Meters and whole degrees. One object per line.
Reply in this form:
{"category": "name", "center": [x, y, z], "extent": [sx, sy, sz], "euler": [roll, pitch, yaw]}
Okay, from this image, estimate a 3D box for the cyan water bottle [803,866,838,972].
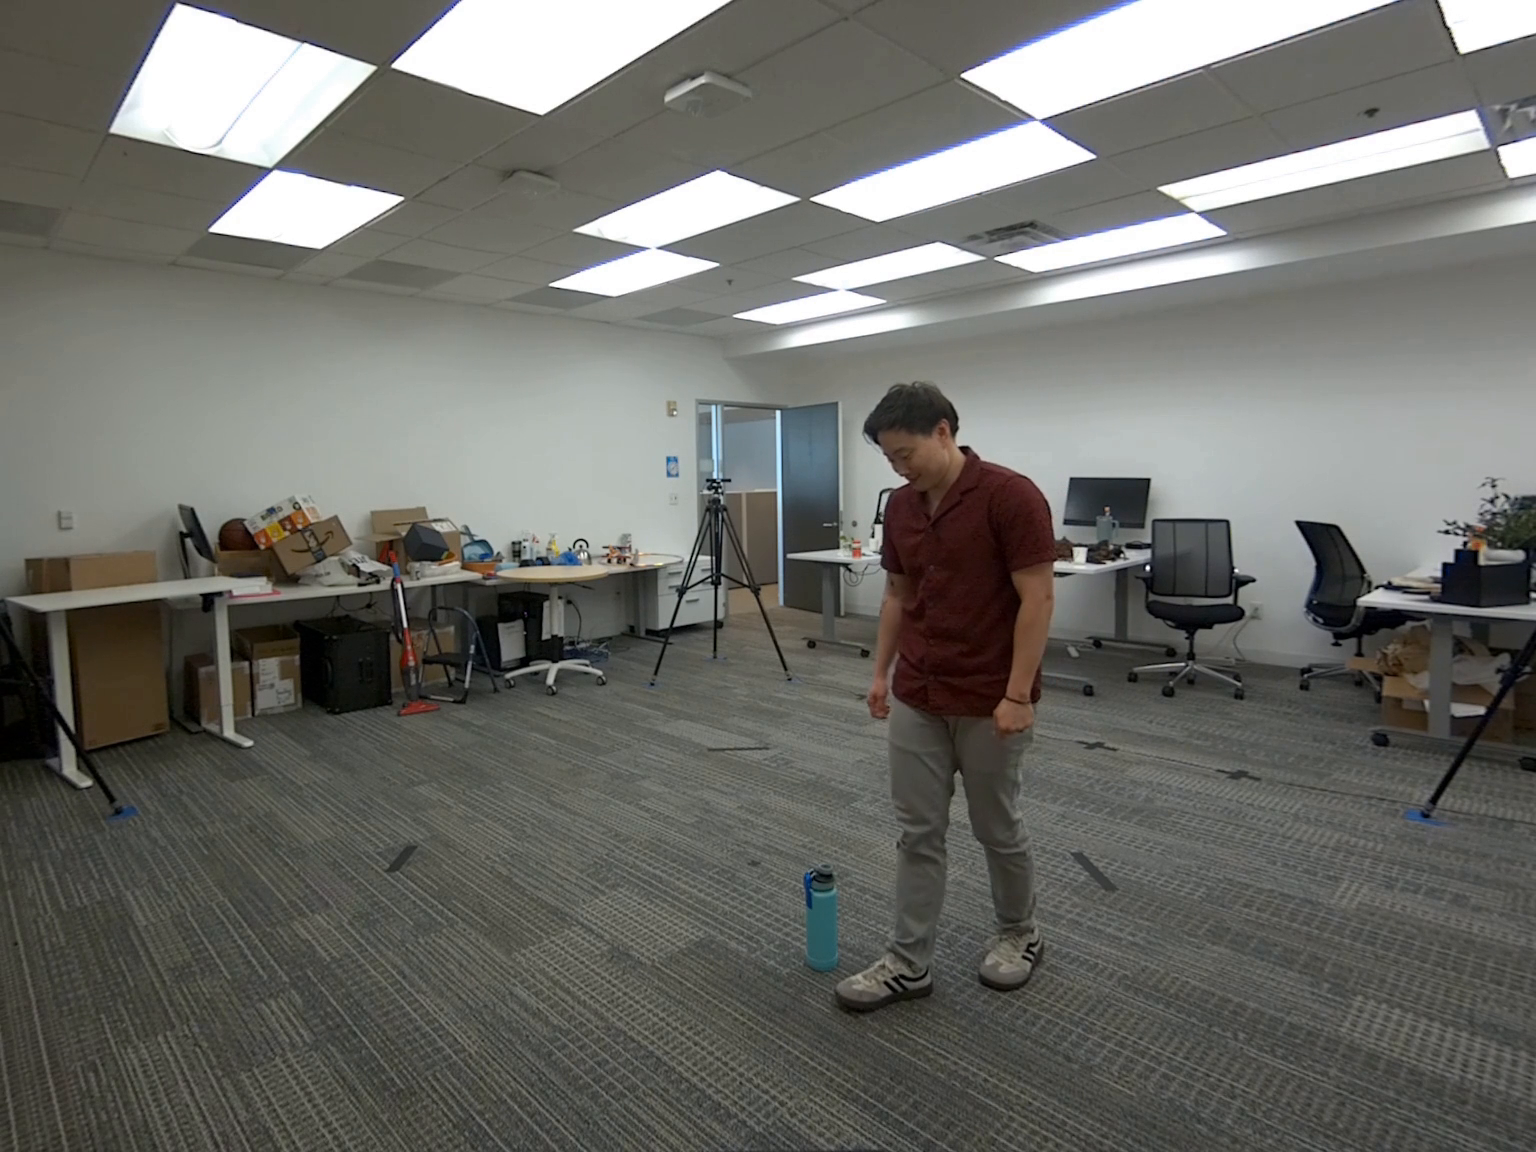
{"category": "cyan water bottle", "center": [0.162, 0.981, 2.448], "extent": [0.092, 0.282, 0.093], "euler": [-2, 4, -2]}
